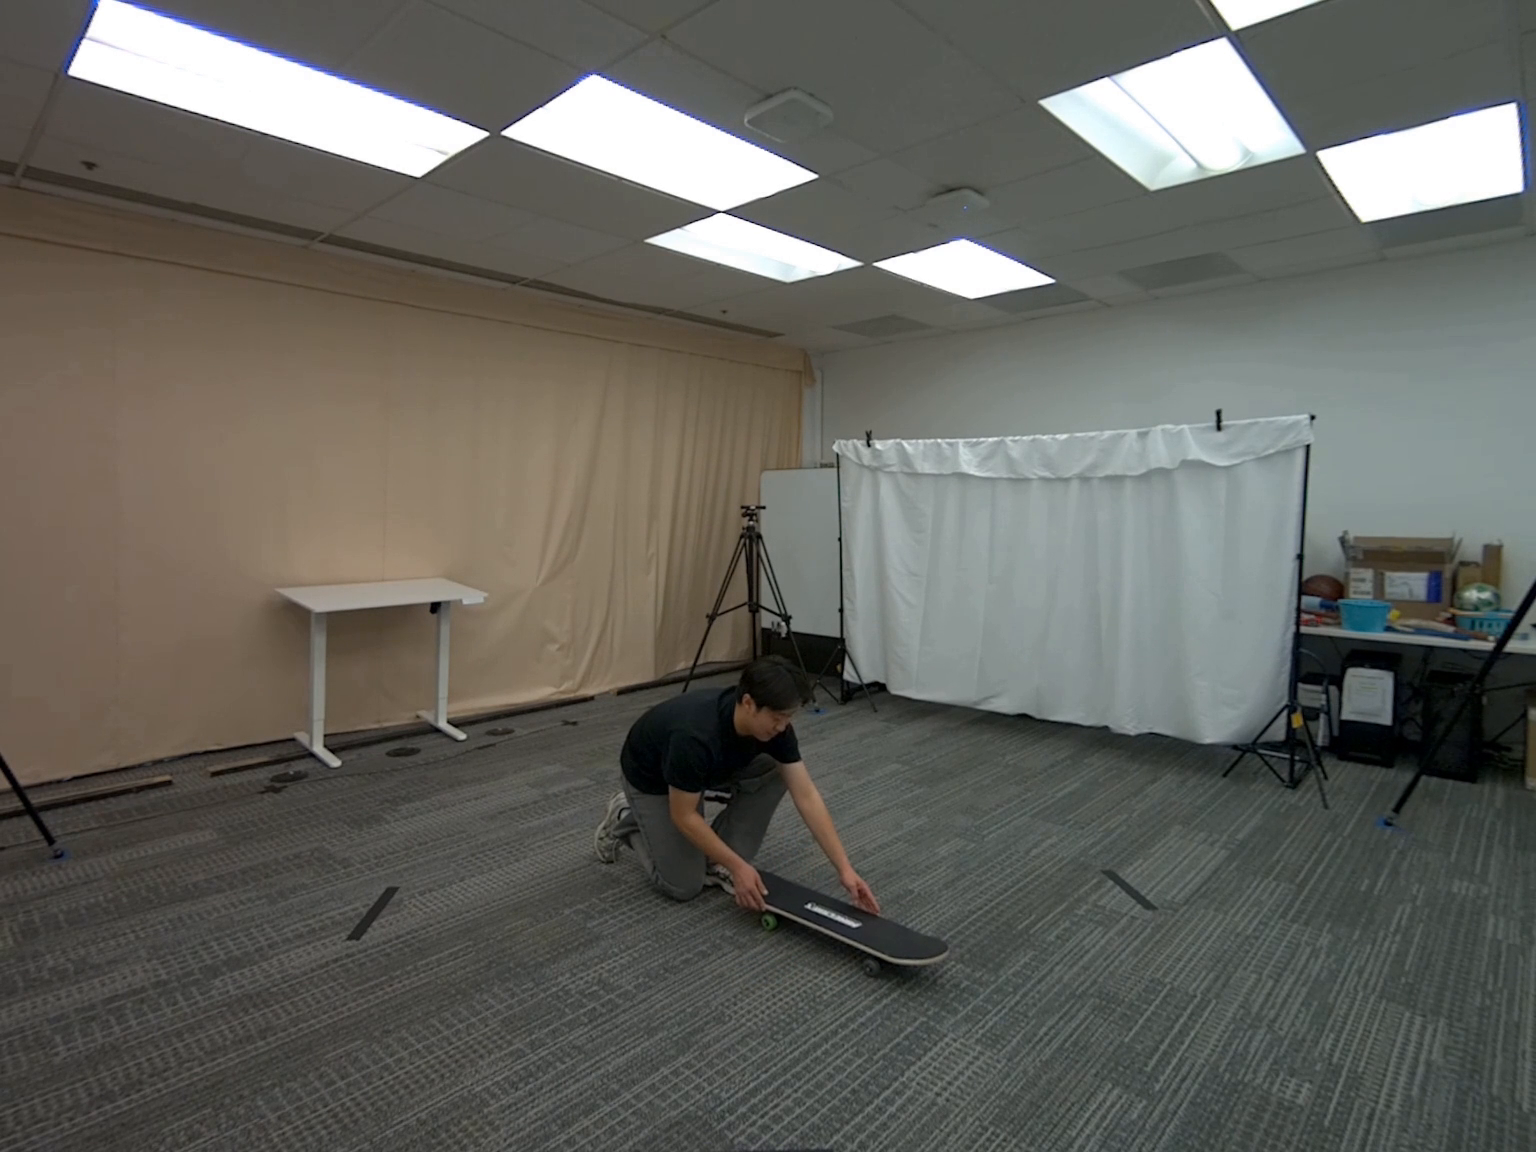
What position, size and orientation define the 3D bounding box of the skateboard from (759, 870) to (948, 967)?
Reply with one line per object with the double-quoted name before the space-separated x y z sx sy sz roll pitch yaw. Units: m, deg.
"skateboard" 0.208 1.110 2.684 0.811 0.110 0.187 3 5 42
